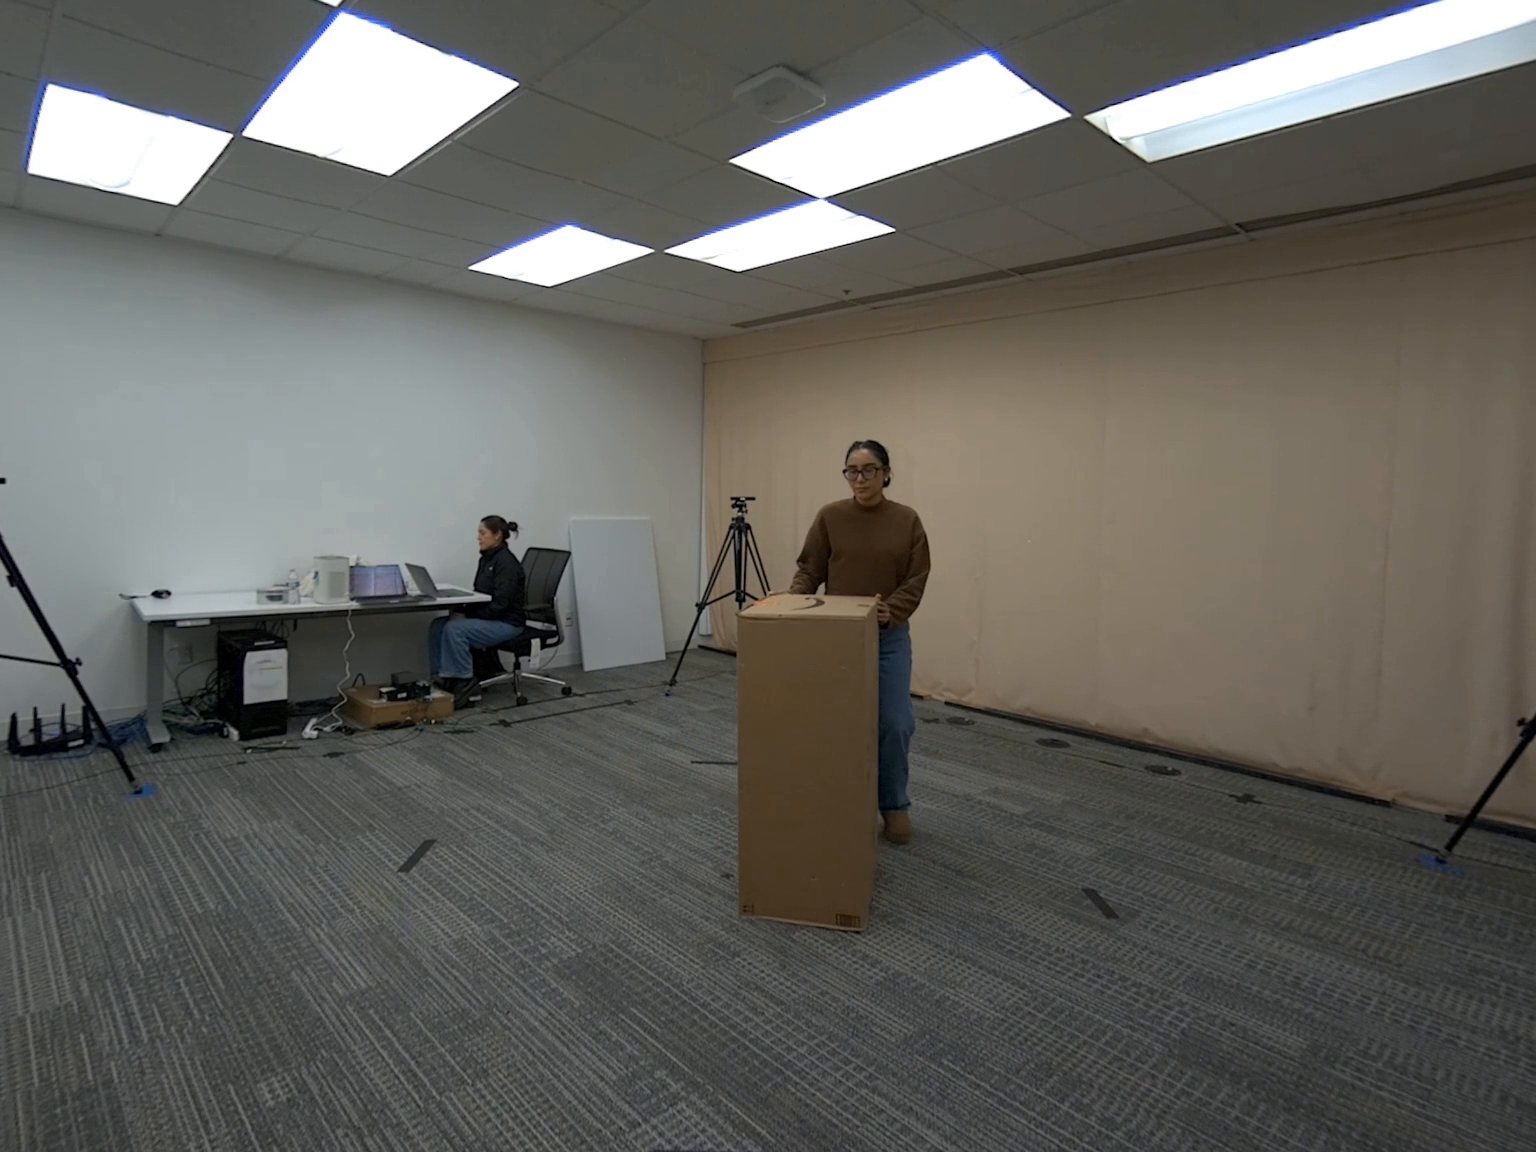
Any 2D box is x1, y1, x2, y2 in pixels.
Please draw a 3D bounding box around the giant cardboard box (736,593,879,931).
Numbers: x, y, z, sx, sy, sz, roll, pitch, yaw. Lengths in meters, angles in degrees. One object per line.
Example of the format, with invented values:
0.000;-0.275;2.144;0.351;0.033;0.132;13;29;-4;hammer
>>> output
0.149;0.610;3.000;0.431;1.023;0.572;1;3;13;giant cardboard box
